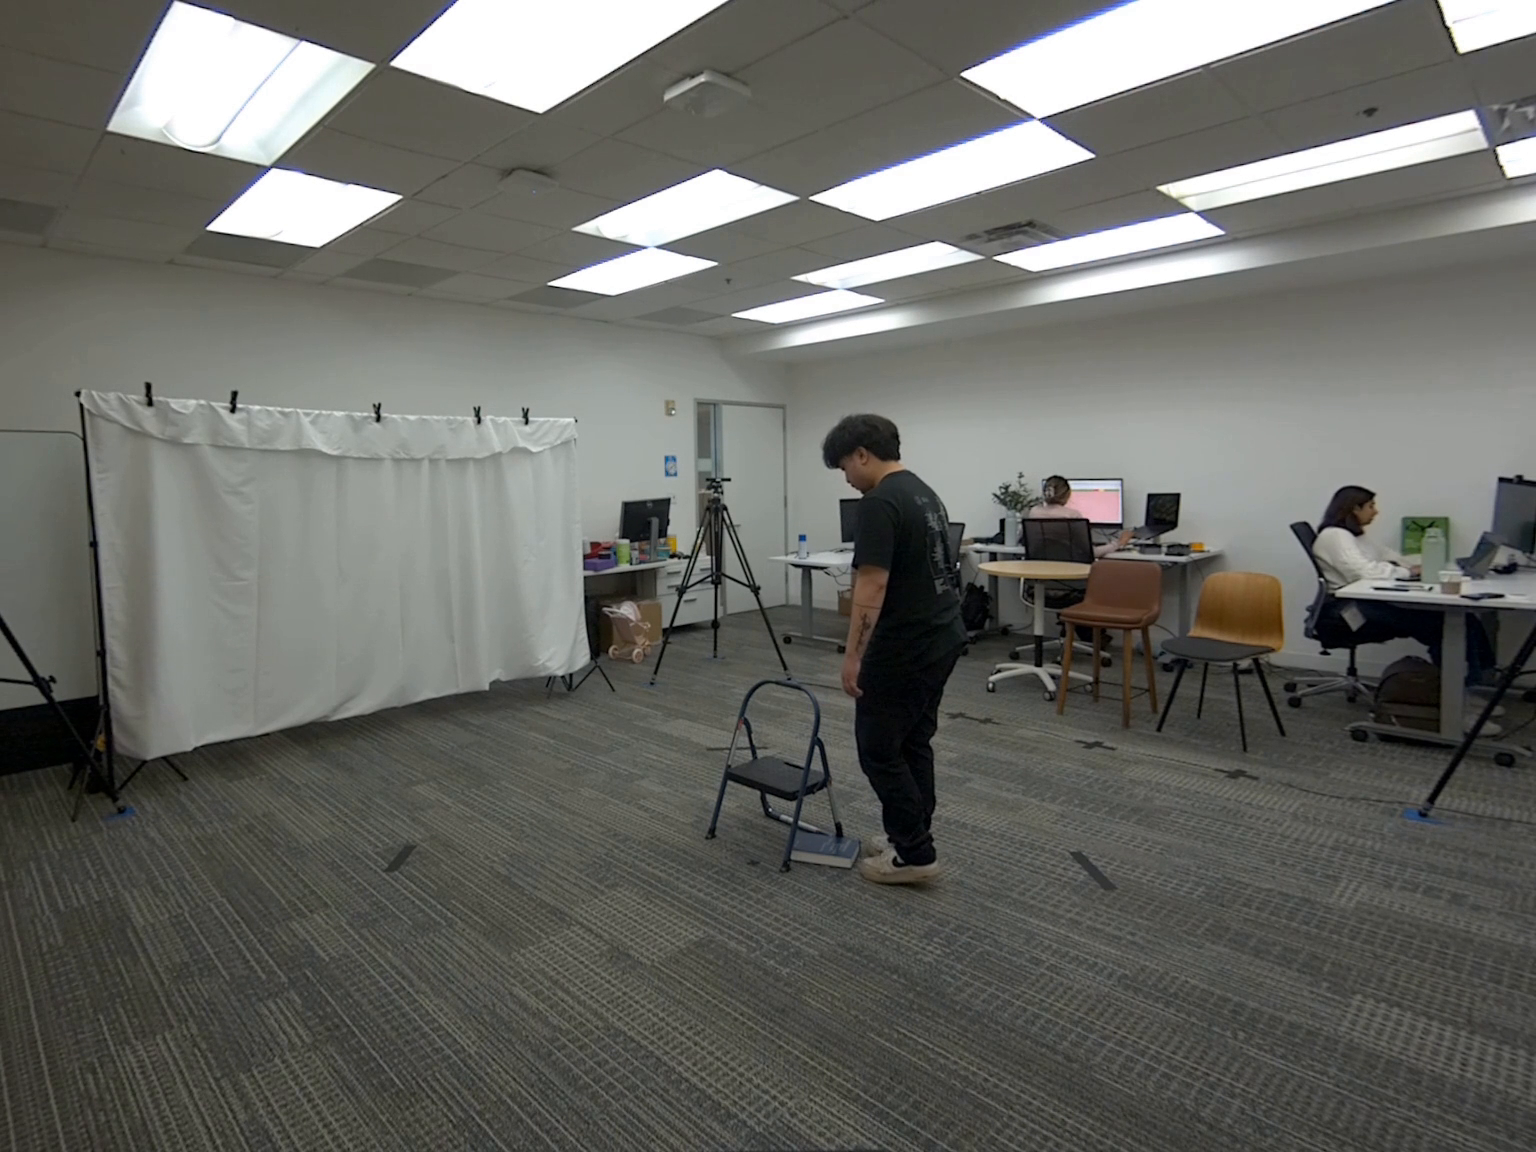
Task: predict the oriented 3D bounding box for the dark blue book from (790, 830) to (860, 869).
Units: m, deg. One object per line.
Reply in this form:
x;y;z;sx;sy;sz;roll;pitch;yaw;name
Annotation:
0.209;1.015;3.162;0.250;0.045;0.161;2;7;20;dark blue book
